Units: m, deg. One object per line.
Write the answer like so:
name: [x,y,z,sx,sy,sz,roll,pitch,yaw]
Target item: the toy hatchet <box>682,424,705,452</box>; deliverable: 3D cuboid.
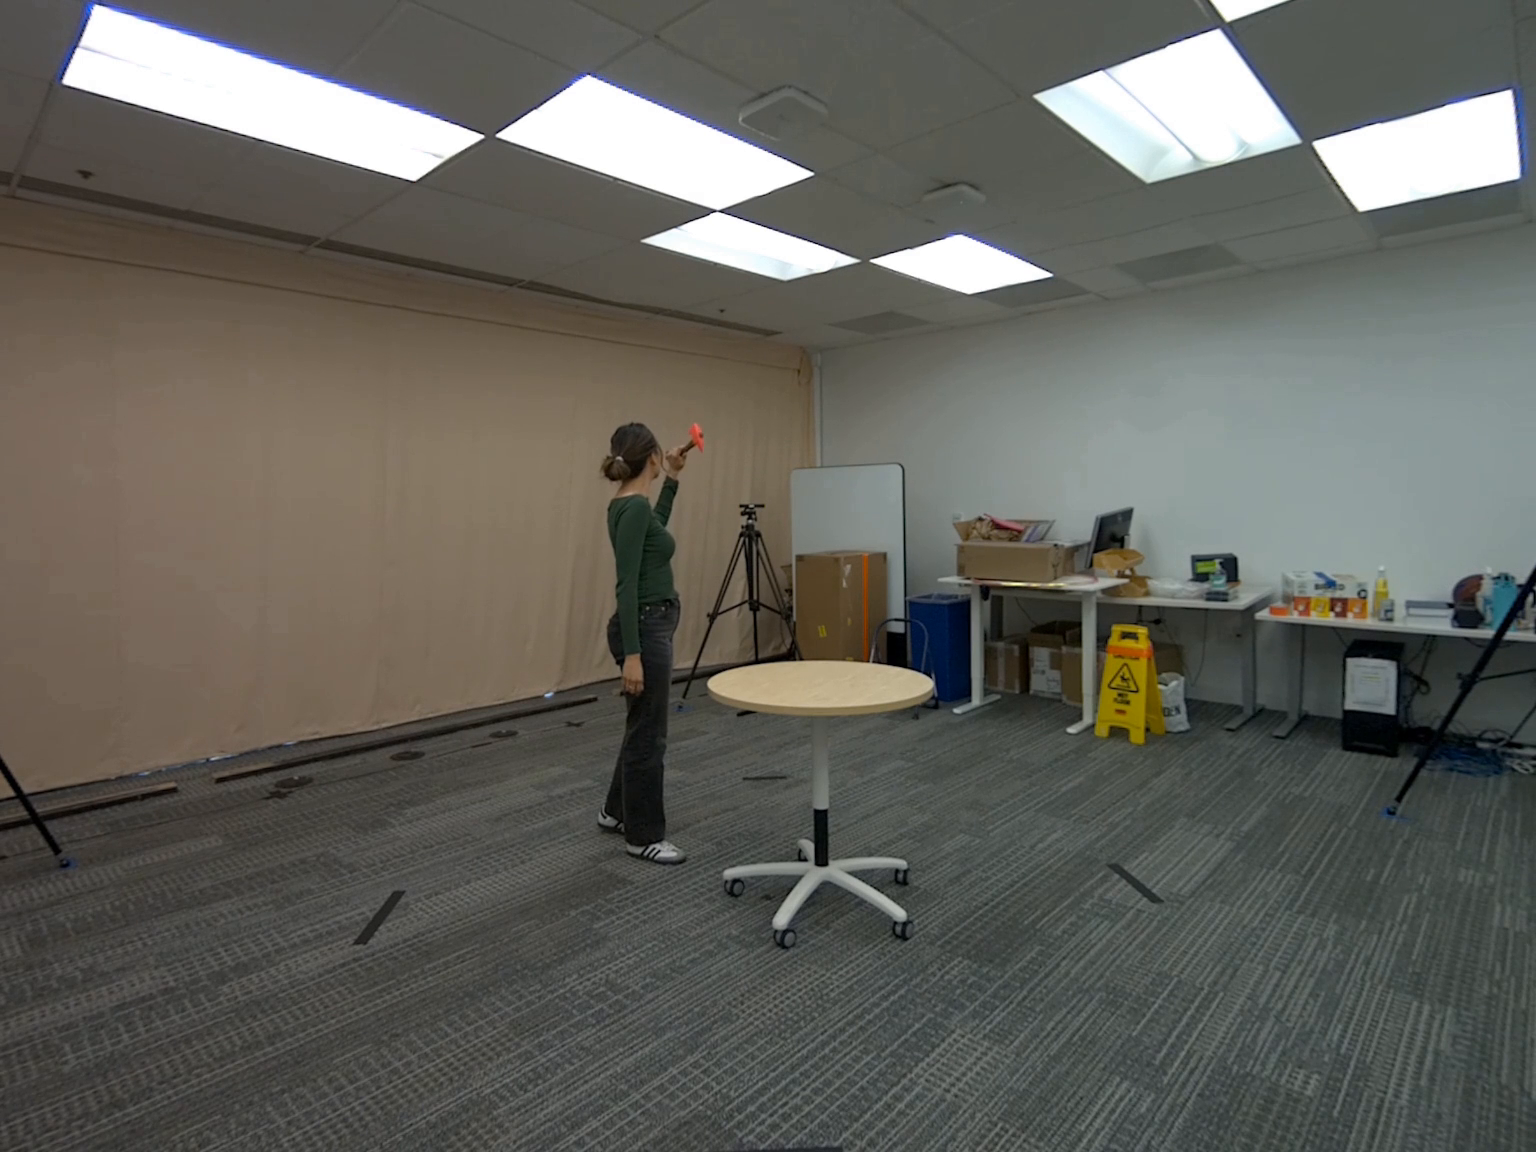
toy hatchet: [-0.357,-0.579,3.607,0.029,0.131,0.278,-3,0,-40]
